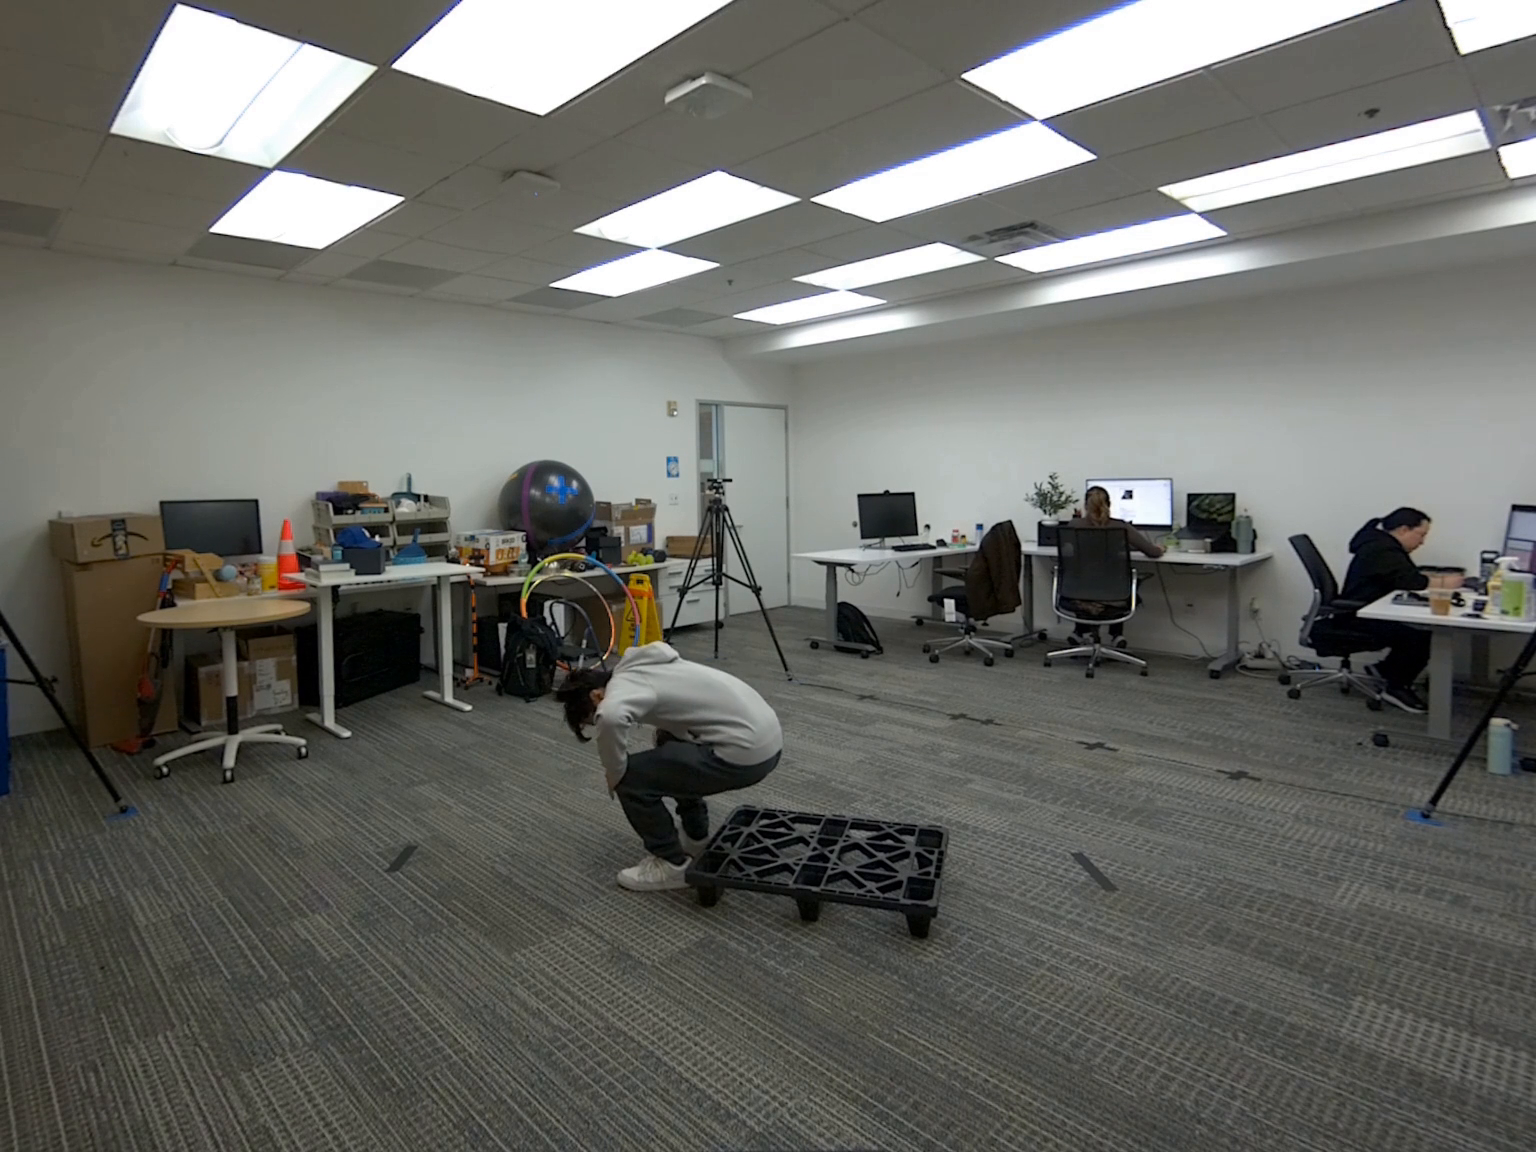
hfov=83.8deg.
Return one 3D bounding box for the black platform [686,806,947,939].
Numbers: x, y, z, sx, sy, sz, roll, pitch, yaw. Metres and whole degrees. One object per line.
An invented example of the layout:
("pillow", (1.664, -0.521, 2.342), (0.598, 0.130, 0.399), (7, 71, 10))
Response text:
("black platform", (0.182, 0.992, 2.920), (0.819, 0.143, 0.597), (1, 6, 17))
